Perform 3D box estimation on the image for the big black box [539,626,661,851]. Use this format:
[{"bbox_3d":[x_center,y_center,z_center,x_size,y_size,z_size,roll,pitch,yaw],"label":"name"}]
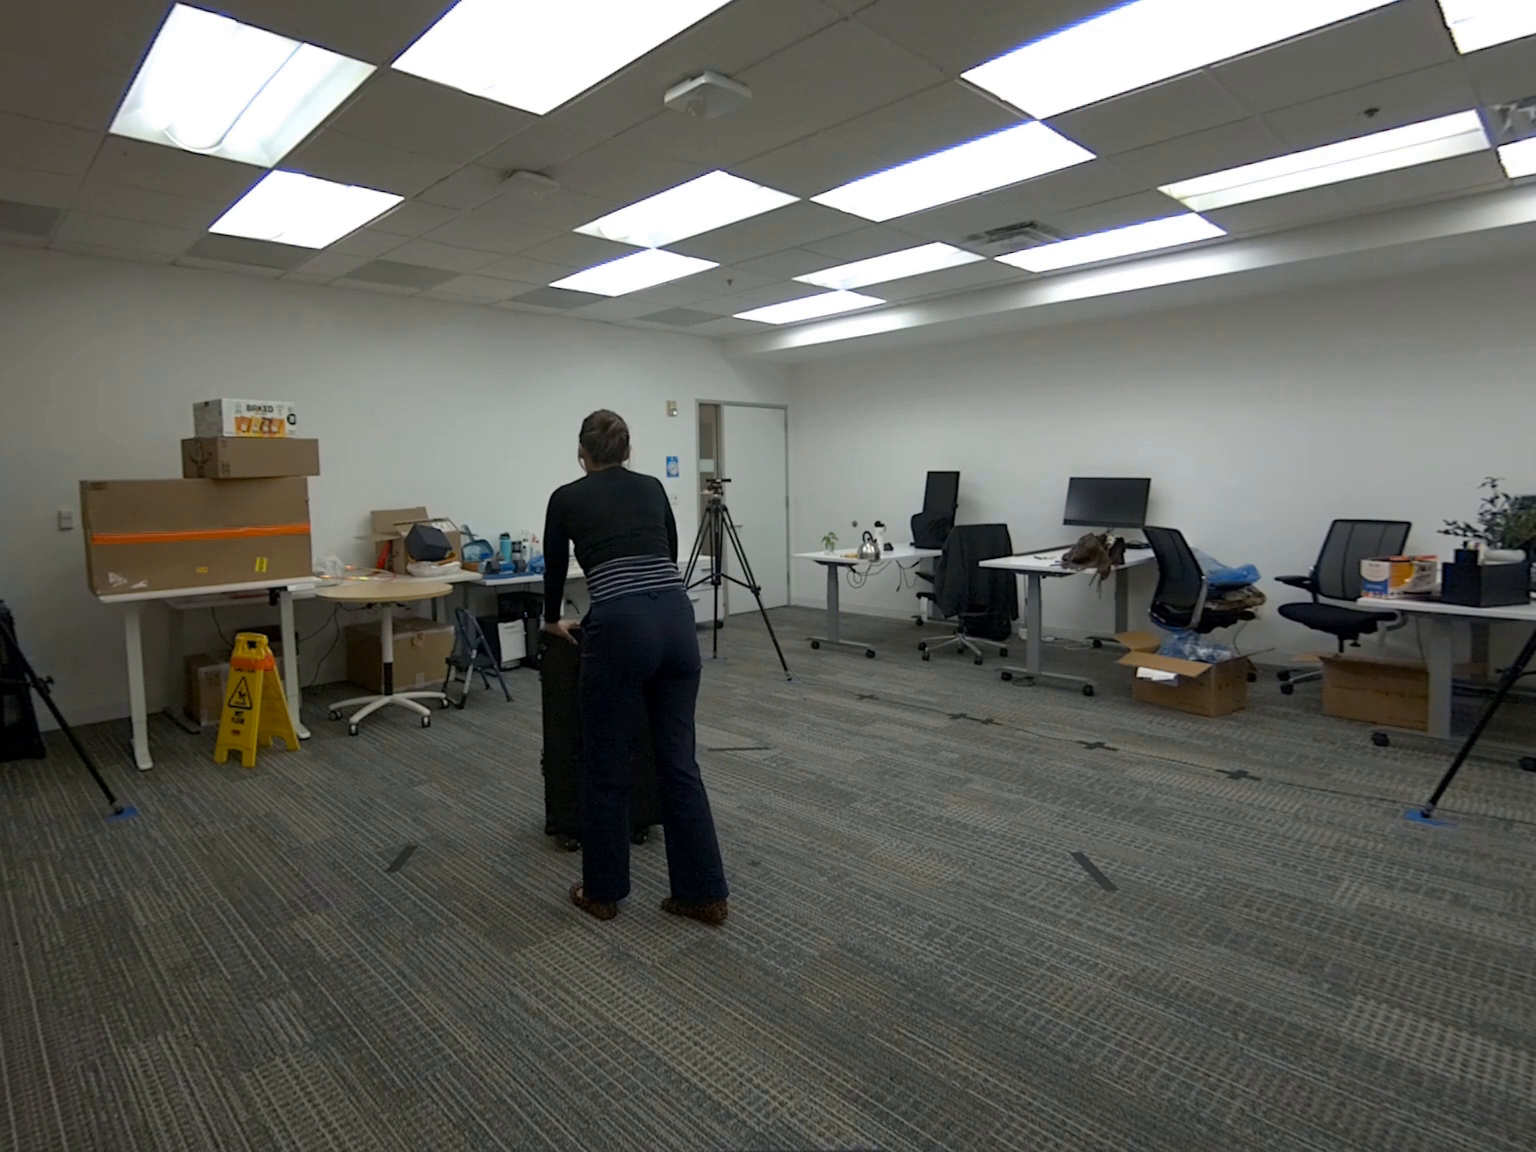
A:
[{"bbox_3d":[-0.643,0.595,3.392,0.515,0.859,0.402,-1,3,-12],"label":"big black box"}]
